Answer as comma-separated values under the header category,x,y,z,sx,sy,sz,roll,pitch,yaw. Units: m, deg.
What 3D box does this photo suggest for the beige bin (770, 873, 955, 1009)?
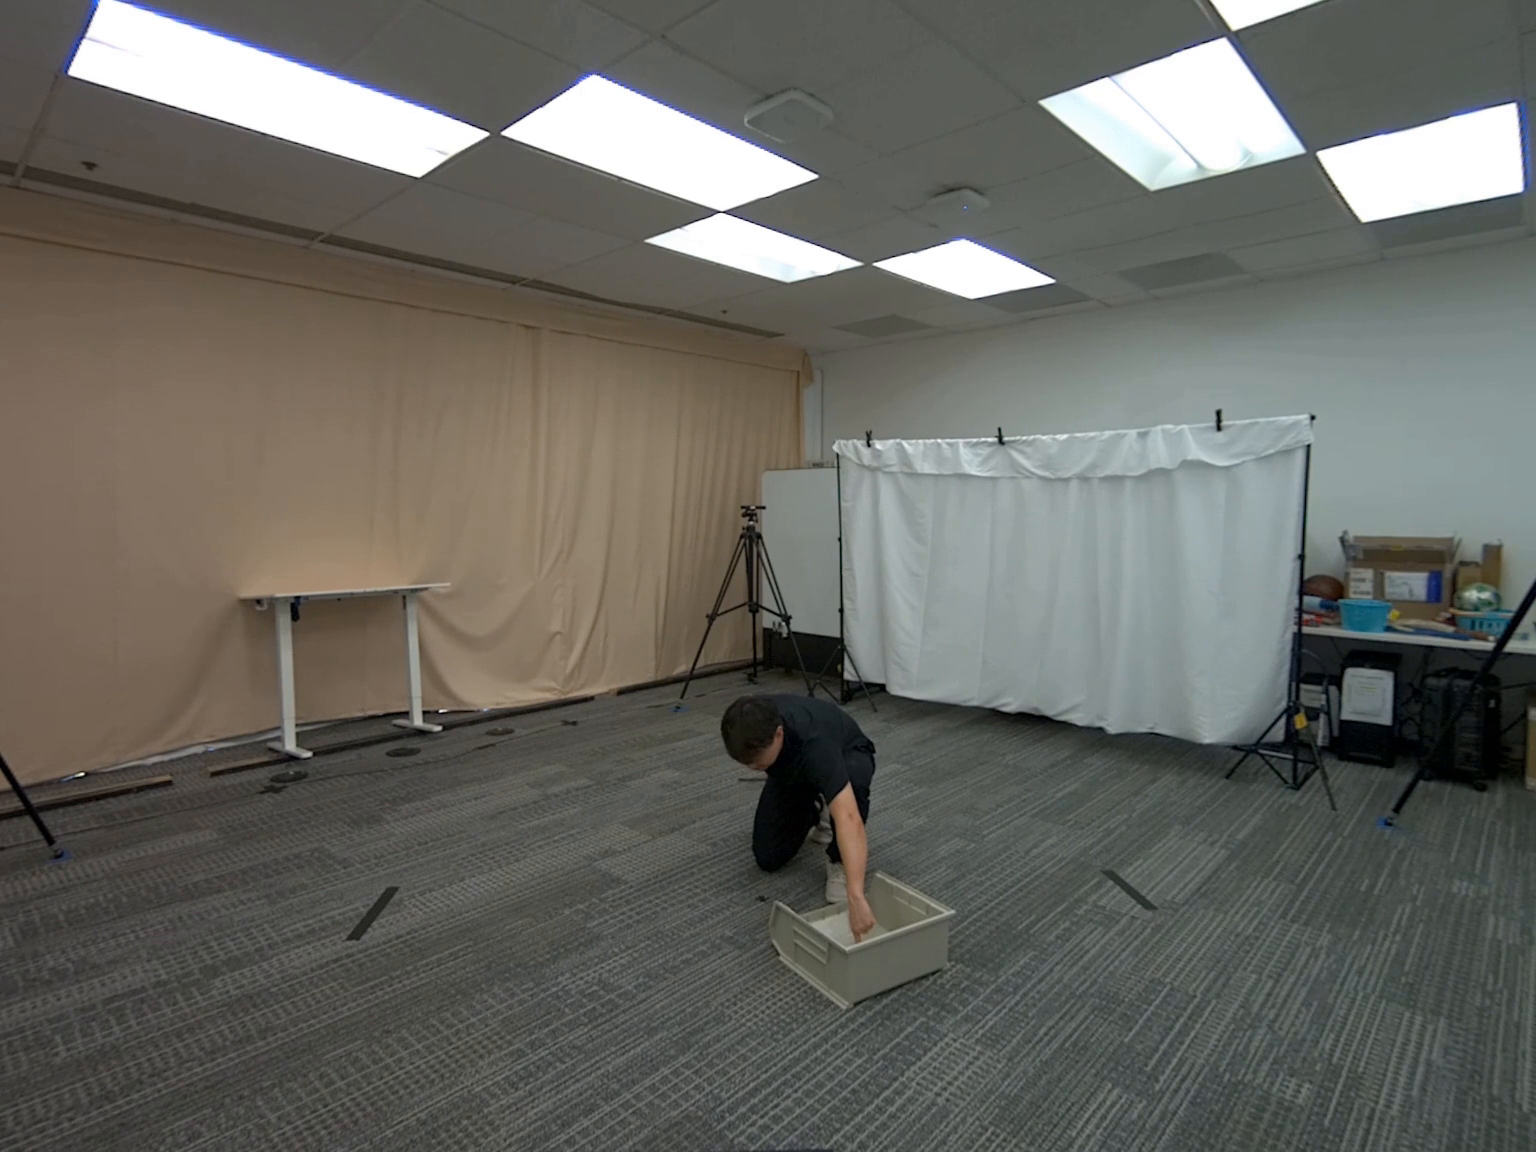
category,x,y,z,sx,sy,sz,roll,pitch,yaw
beige bin,0.281,1.082,2.574,0.410,0.188,0.389,-2,5,-33
